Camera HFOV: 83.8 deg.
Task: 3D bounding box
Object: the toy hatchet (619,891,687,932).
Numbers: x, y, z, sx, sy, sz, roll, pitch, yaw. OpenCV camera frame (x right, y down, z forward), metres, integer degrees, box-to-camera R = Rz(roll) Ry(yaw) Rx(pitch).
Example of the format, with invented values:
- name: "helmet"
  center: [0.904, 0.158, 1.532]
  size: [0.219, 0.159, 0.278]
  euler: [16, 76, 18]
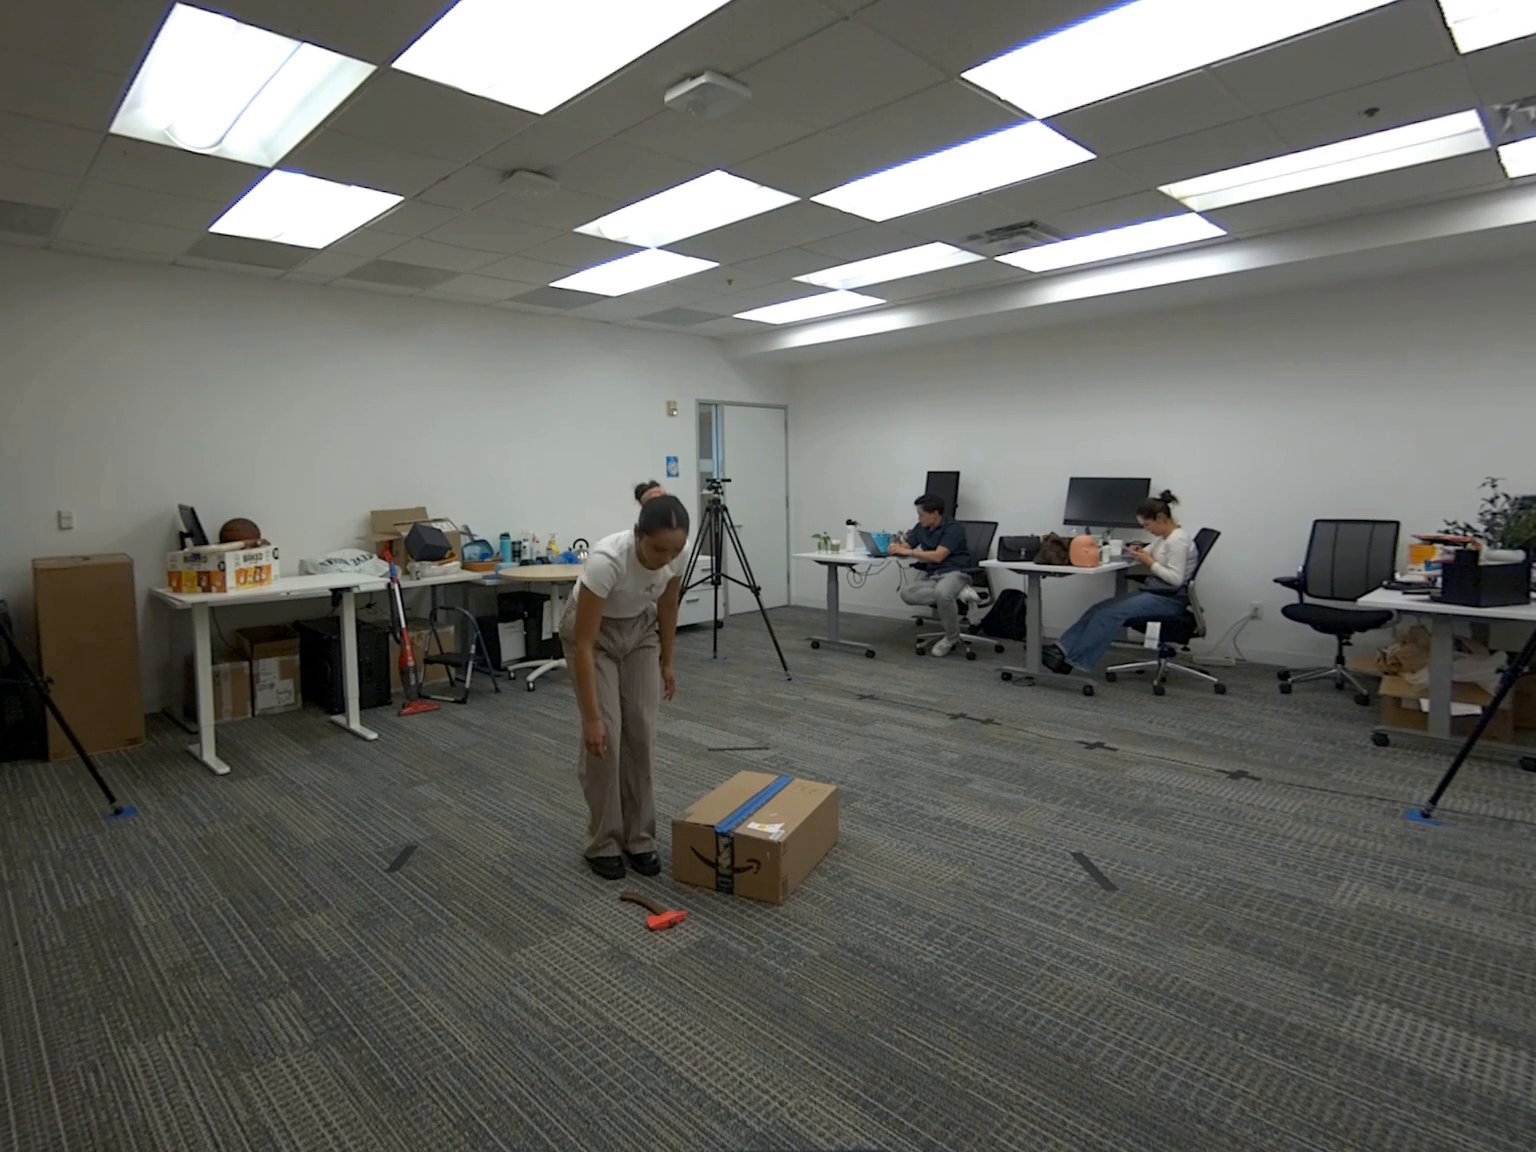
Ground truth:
- name: "toy hatchet"
  center: [-0.397, 1.086, 2.745]
  size: [0.278, 0.029, 0.128]
  euler: [2, 10, 35]
